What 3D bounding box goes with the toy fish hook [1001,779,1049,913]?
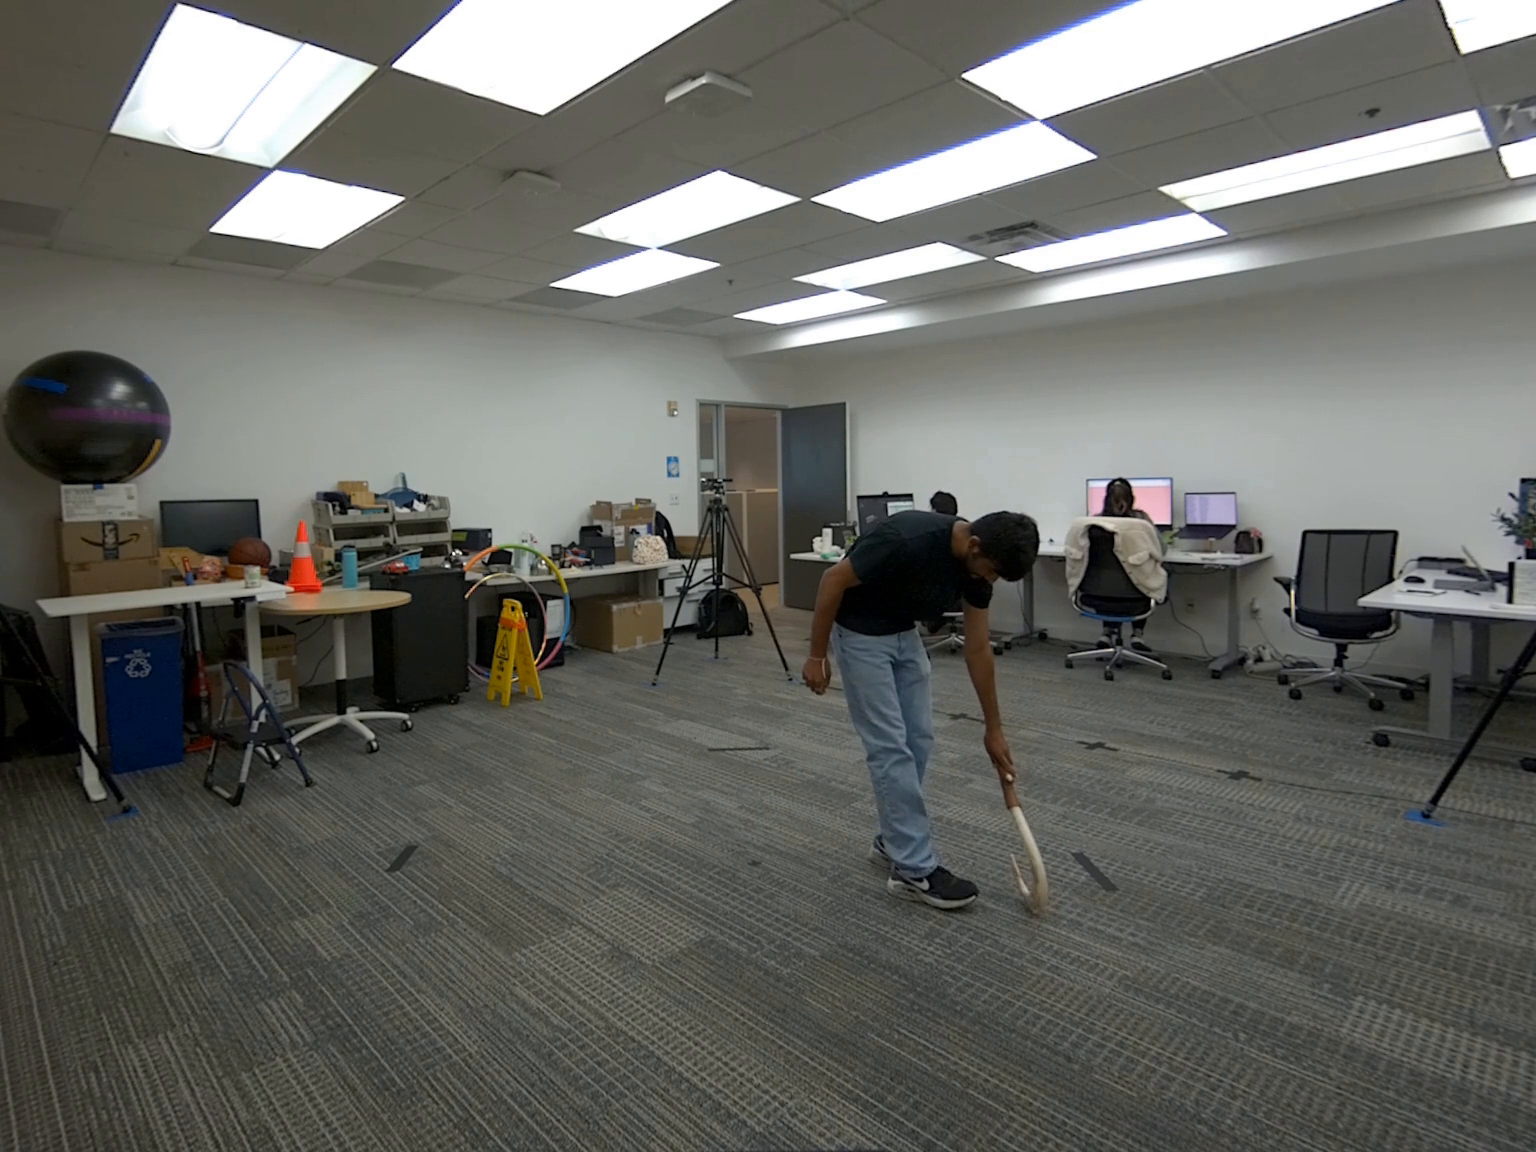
[{"bbox_3d":[0.815,0.835,2.833,0.048,0.521,0.220,0,-35,-11],"label":"toy fish hook"}]
